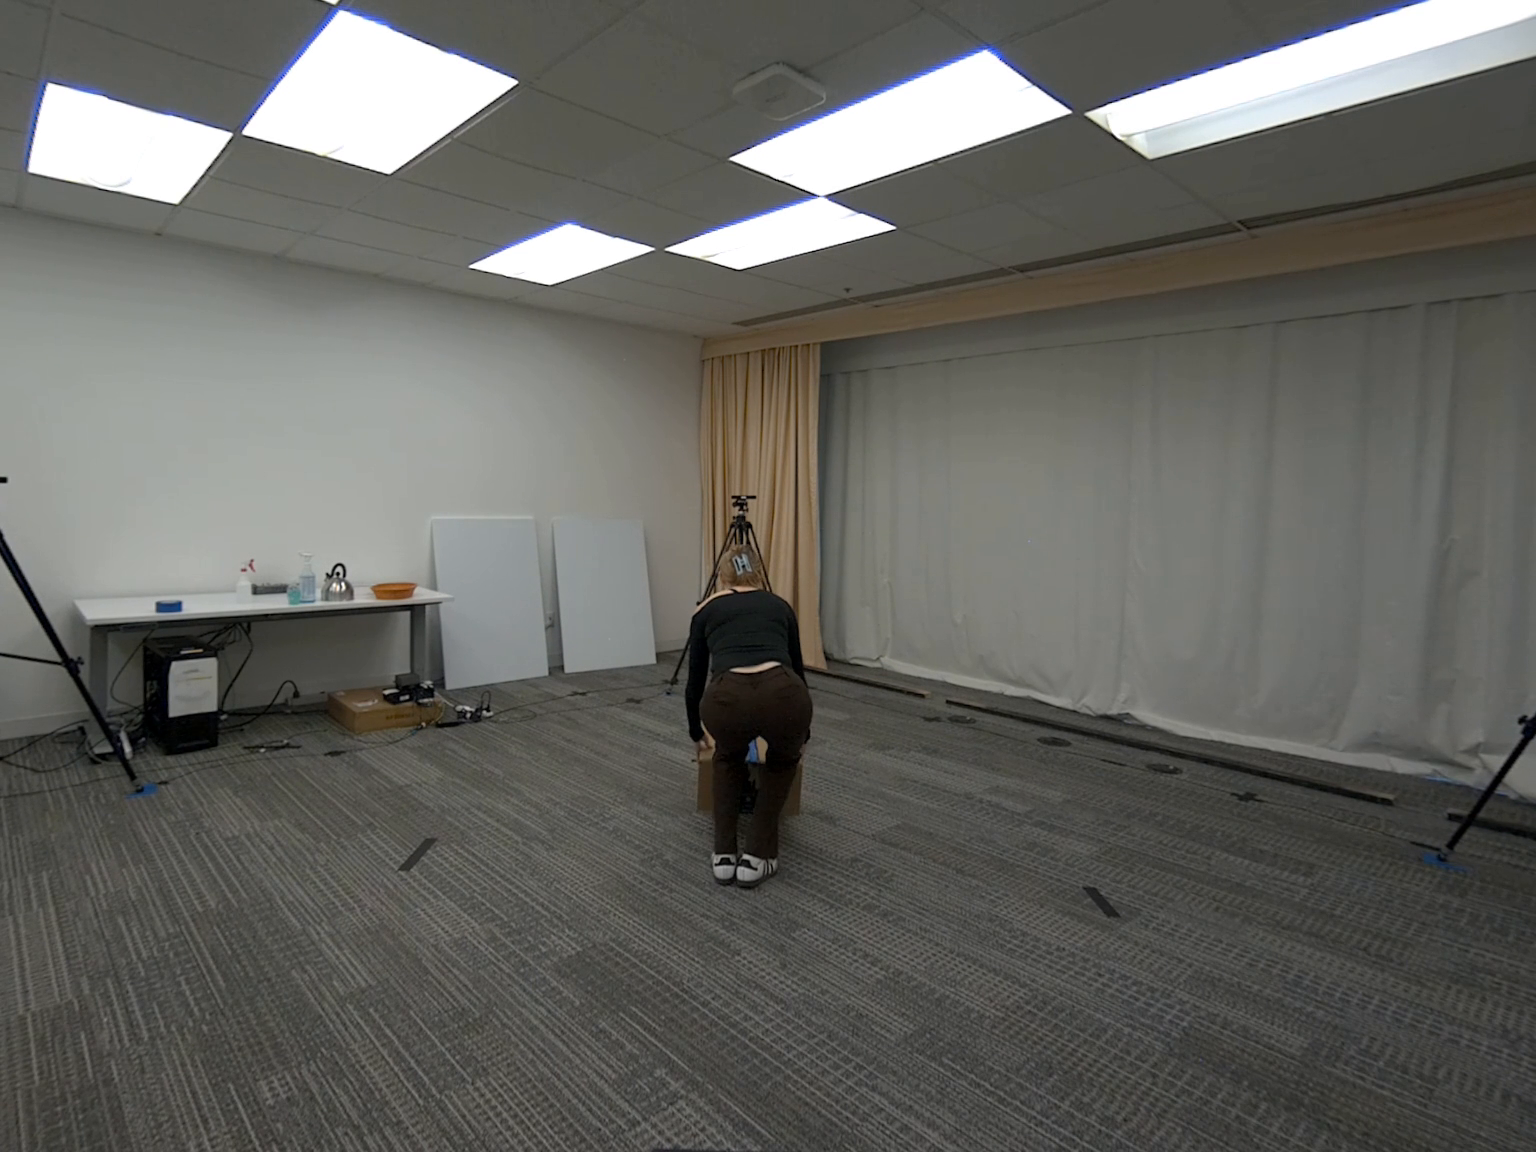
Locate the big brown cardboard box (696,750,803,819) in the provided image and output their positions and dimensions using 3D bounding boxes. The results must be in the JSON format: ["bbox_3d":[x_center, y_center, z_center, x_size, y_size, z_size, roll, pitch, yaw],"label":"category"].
[{"bbox_3d":[-0.093,0.790,3.616,0.416,0.232,0.594,2,9,-4],"label":"big brown cardboard box"}]
